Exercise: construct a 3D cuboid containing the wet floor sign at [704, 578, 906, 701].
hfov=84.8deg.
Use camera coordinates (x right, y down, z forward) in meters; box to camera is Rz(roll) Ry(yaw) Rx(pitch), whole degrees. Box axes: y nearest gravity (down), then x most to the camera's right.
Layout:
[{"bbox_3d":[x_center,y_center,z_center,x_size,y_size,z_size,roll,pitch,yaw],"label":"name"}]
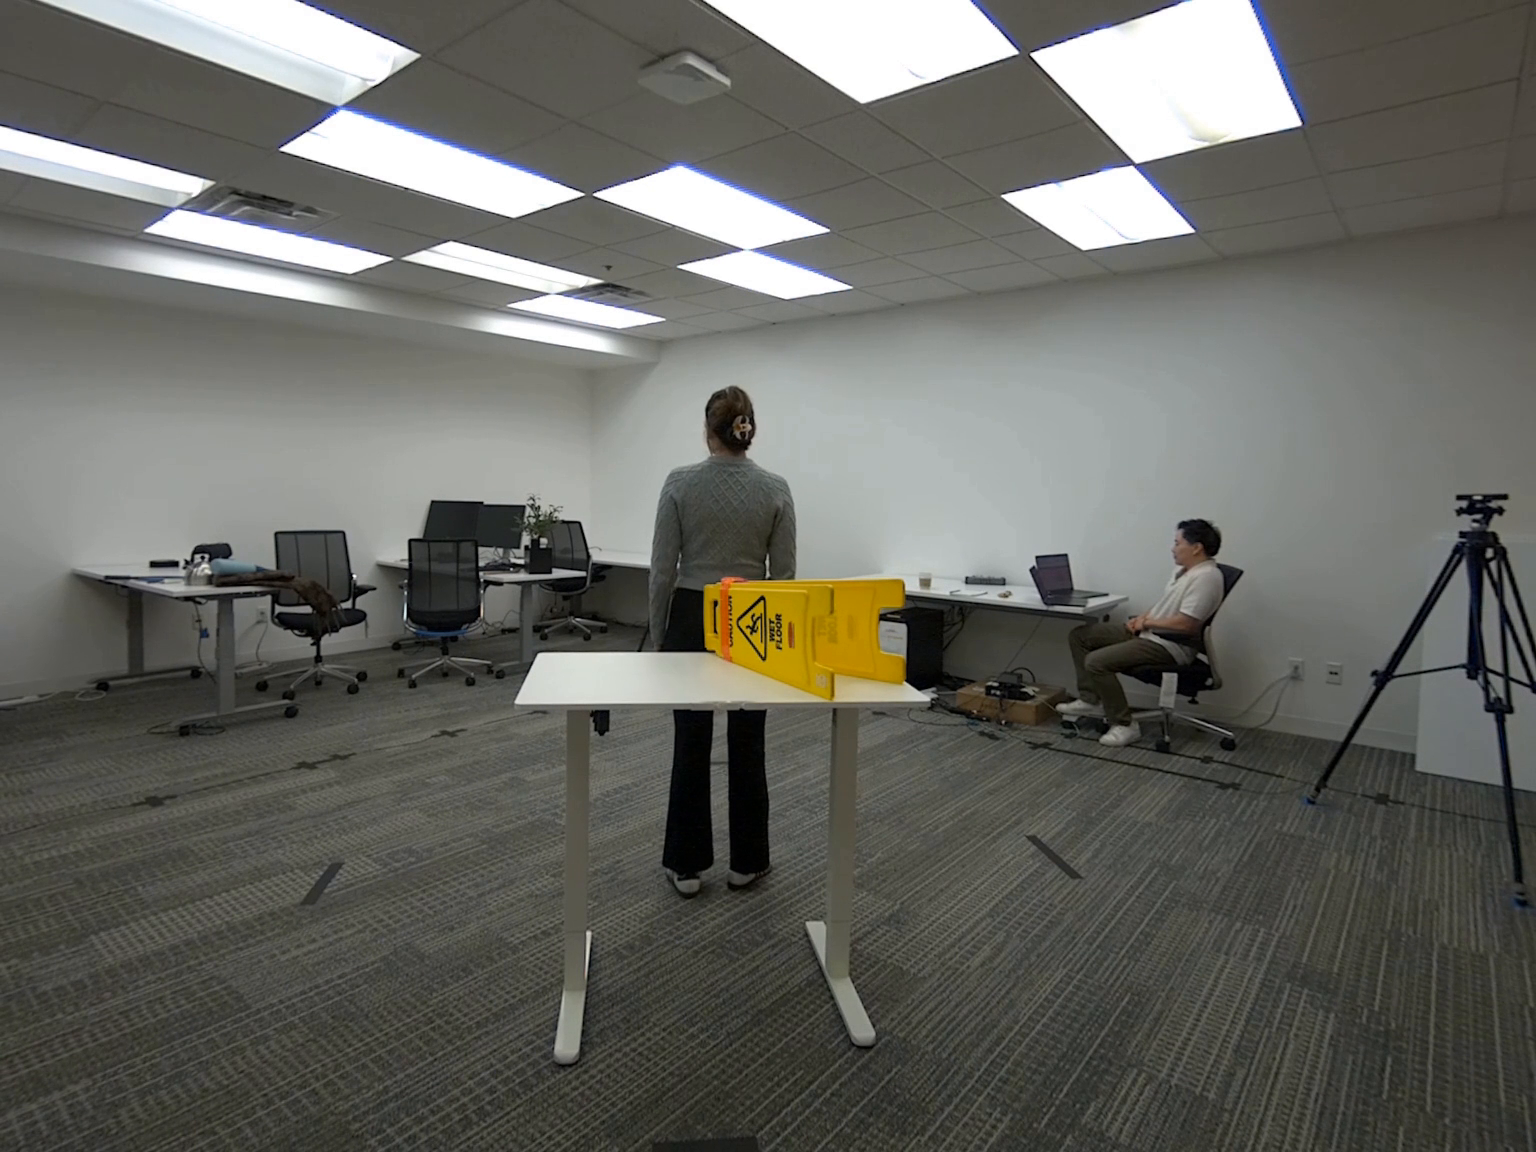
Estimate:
[{"bbox_3d":[0.028,0.140,2.391,0.281,0.281,0.667,-4,5,-43],"label":"wet floor sign"}]
